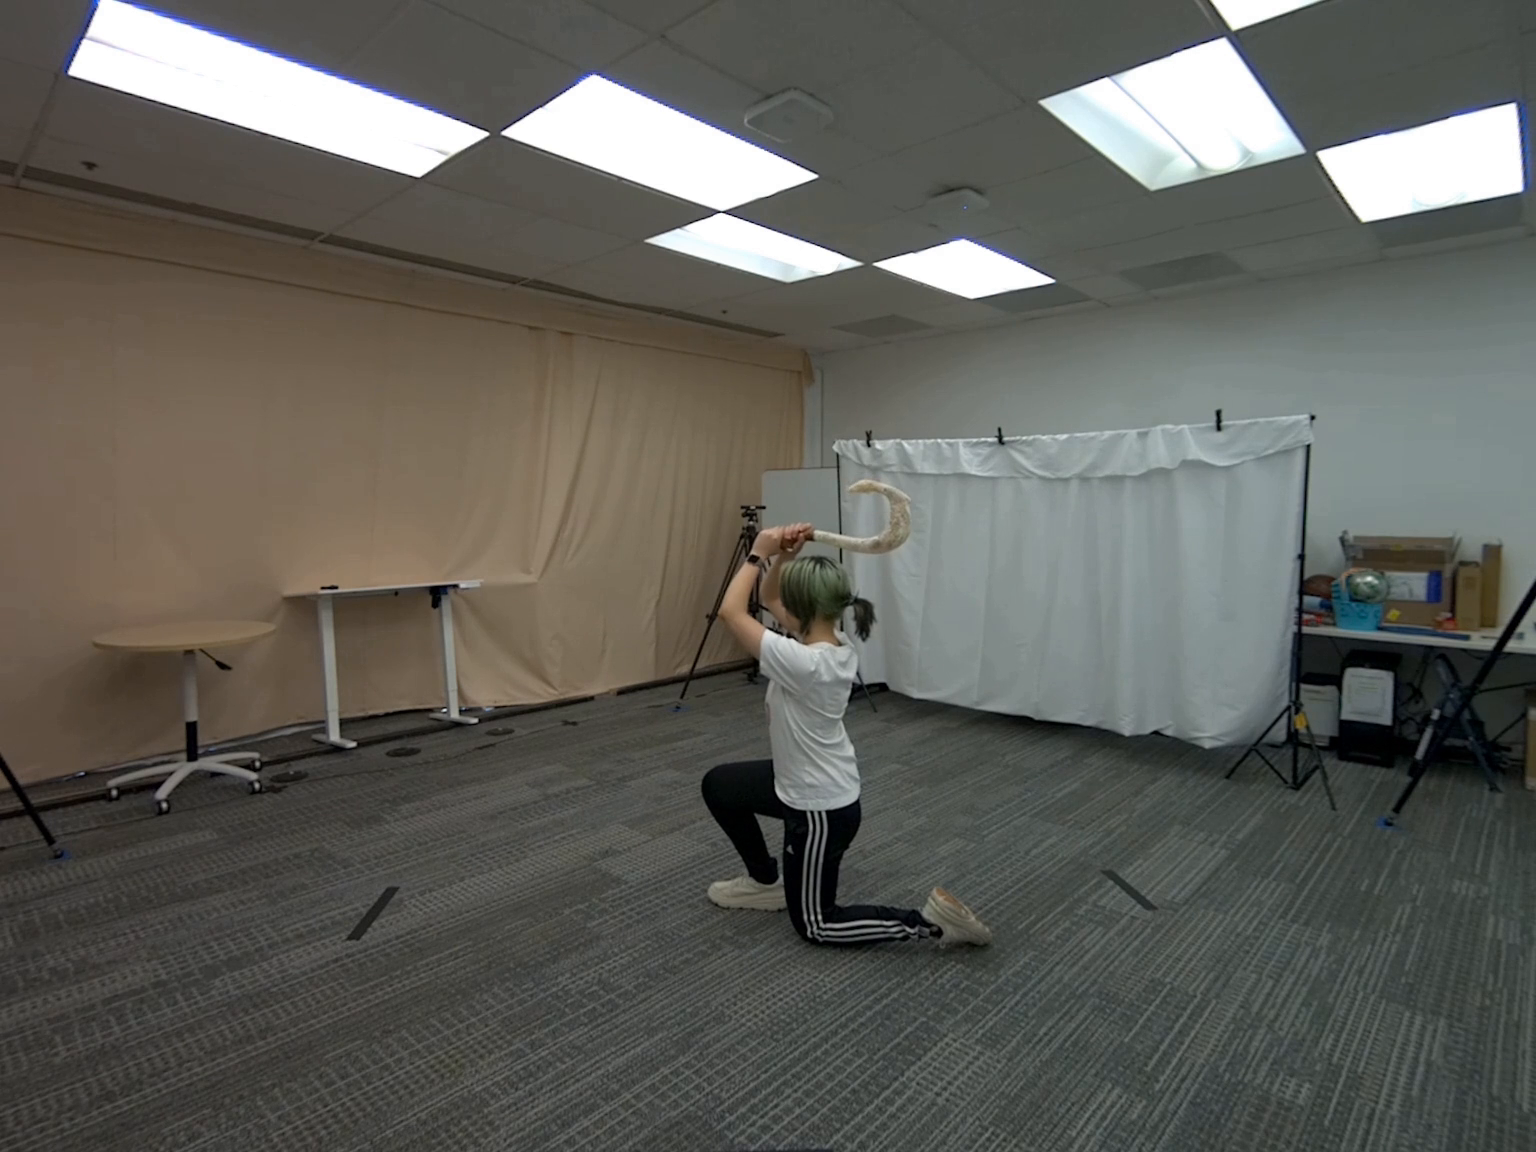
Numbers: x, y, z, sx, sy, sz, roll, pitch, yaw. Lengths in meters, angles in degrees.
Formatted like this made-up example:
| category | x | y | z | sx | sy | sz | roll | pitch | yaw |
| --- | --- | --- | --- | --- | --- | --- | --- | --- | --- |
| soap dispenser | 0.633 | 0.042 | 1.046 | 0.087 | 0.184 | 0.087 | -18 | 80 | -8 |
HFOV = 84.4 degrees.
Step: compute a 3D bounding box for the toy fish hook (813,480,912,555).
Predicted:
| category | x | y | z | sx | sy | sz | roll | pitch | yaw |
| --- | --- | --- | --- | --- | --- | --- | --- | --- | --- |
| toy fish hook | 0.191 | -0.183 | 2.622 | 0.519 | 0.225 | 0.047 | -2 | -6 | 25 |
